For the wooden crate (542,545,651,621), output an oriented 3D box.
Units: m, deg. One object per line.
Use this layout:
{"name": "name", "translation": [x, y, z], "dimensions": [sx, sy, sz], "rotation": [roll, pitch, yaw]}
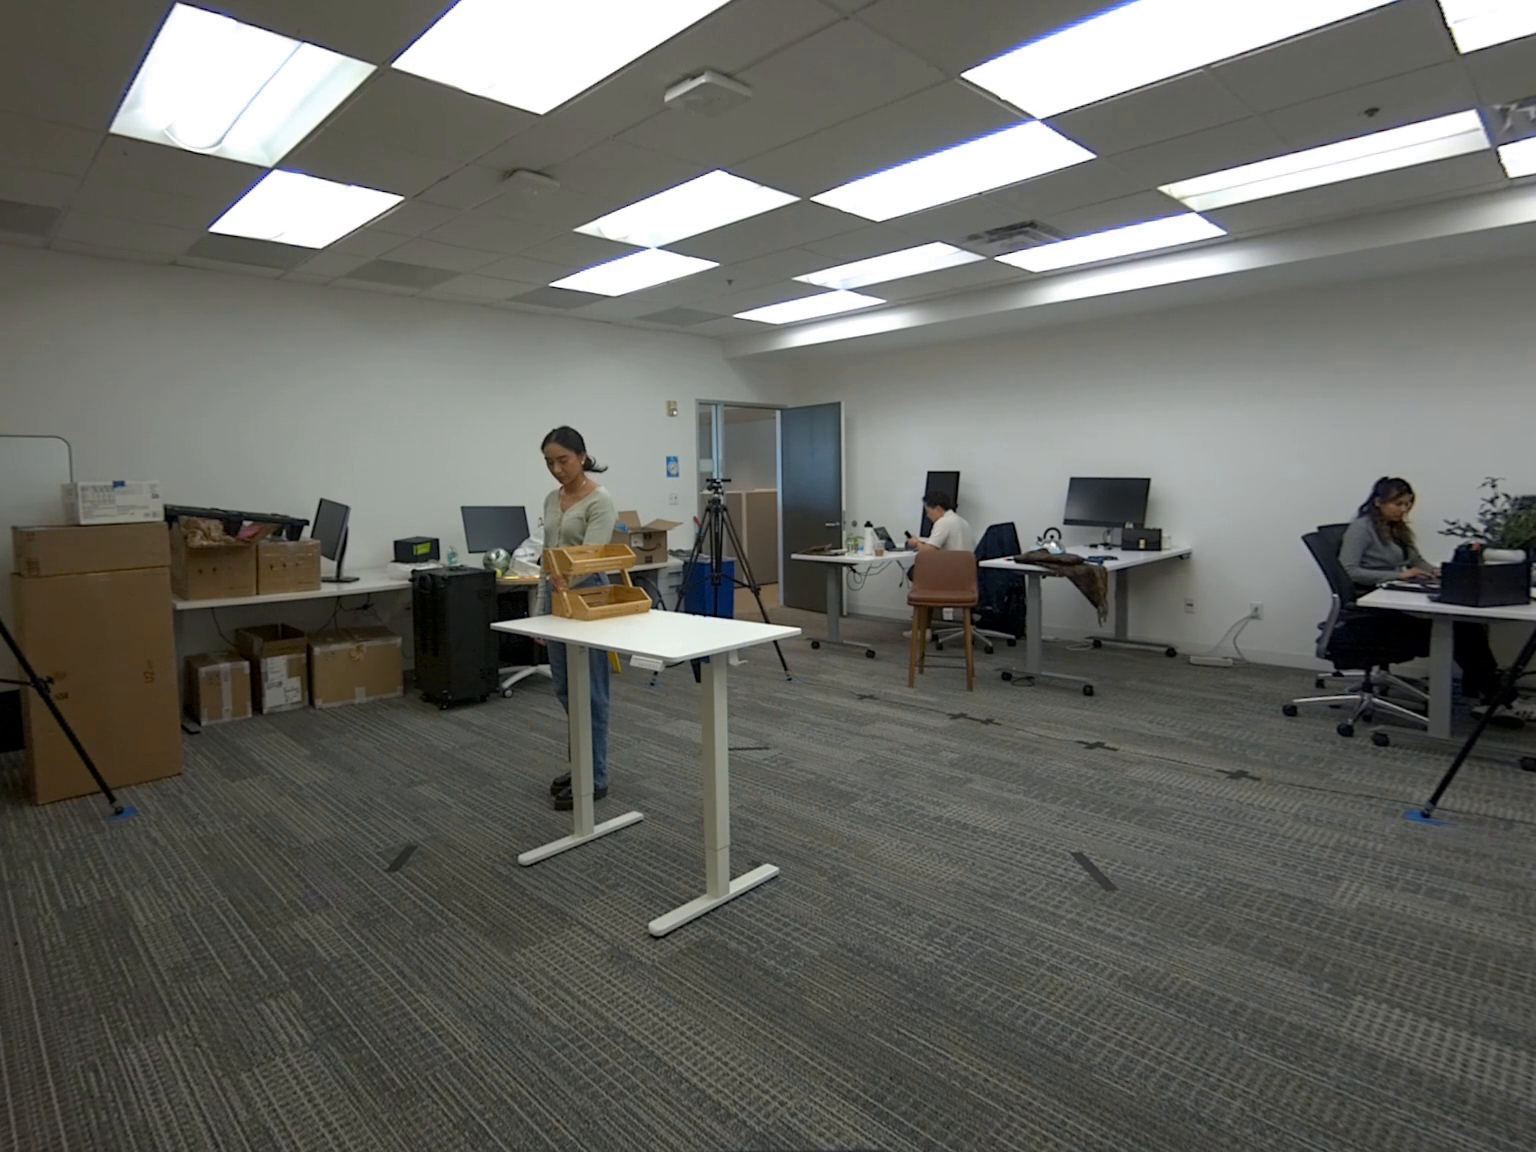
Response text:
{"name": "wooden crate", "translation": [-0.669, 0.015, 3.358], "dimensions": [0.311, 0.272, 0.316], "rotation": [2, 6, 45]}
